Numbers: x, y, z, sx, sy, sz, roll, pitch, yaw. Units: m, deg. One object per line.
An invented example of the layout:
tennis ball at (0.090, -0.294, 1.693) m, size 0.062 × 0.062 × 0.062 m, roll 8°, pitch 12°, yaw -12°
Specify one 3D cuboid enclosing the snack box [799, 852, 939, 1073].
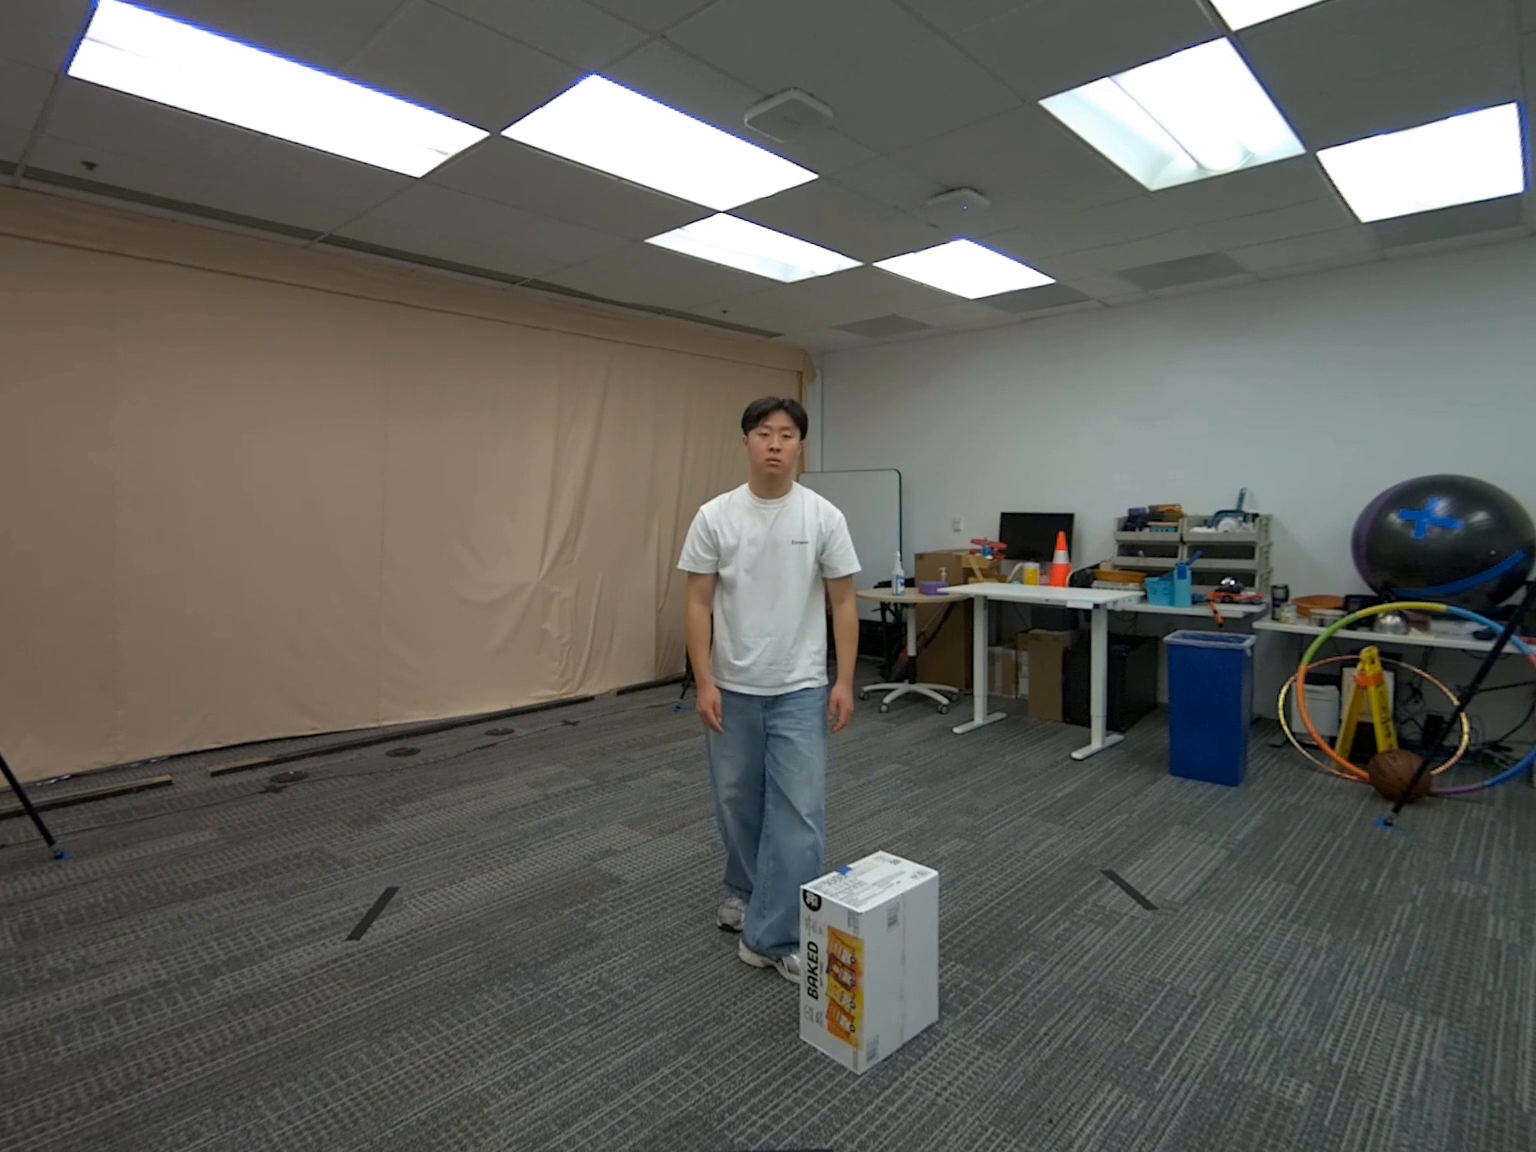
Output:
snack box at (0.278, 1.005, 2.227) m, size 0.330 × 0.404 × 0.212 m, roll -3°, pitch 4°, yaw -43°
